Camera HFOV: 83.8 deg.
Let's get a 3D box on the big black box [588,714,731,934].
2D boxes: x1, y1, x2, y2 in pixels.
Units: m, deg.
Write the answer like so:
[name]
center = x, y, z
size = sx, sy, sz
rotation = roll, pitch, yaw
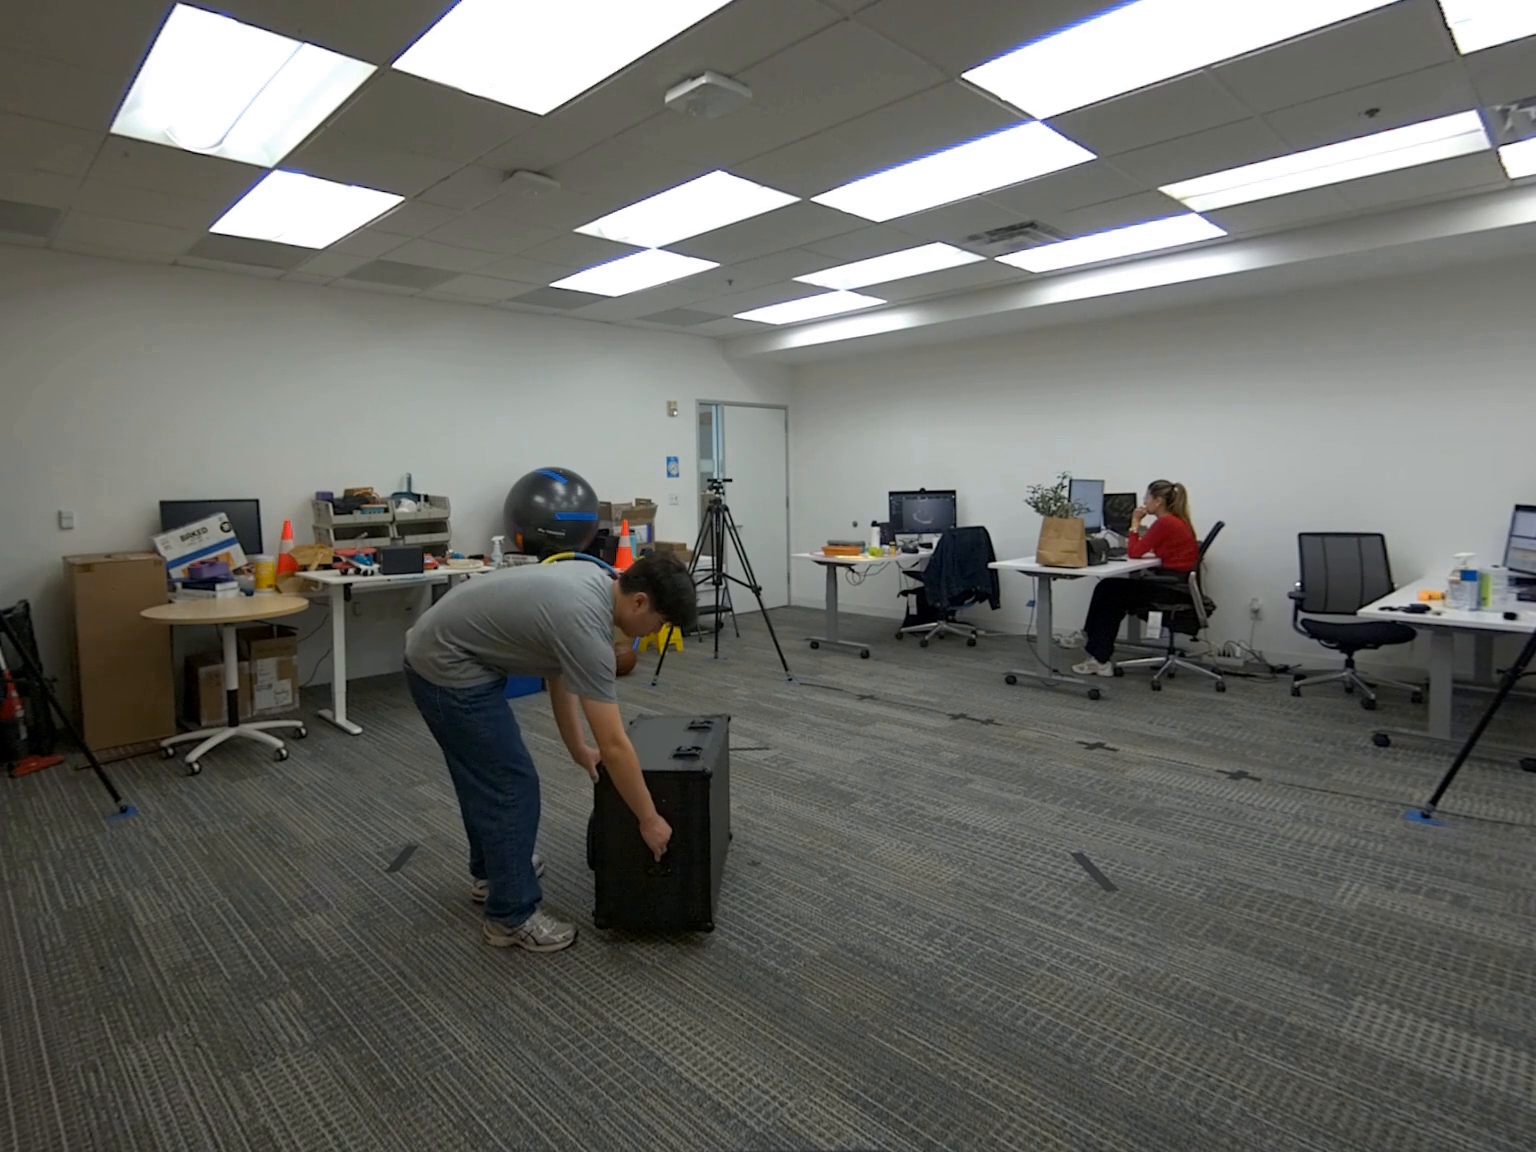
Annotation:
[big black box]
center = -0.339, 0.801, 2.980
size = 0.398, 0.520, 0.860
rotation = 0, 3, 2
